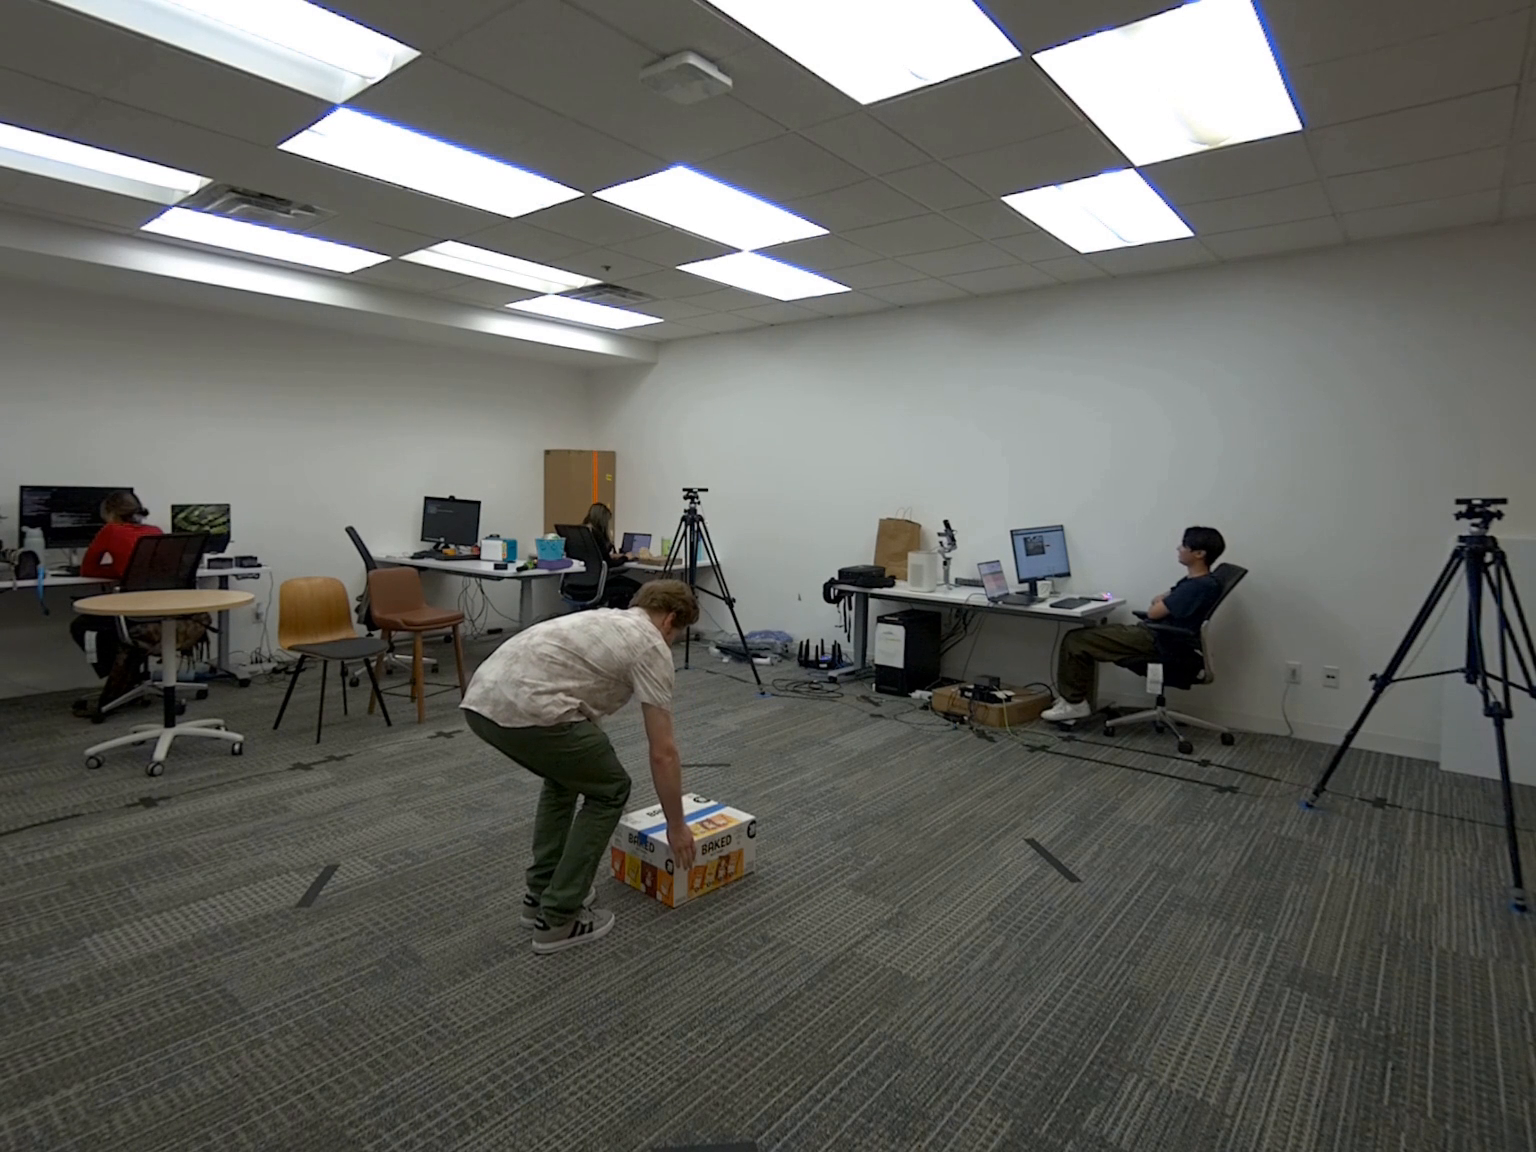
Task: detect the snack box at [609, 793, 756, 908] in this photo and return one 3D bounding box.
[{"bbox_3d":[-0.310,0.972,3.063,0.352,0.205,0.393,6,7,43],"label":"snack box"}]
